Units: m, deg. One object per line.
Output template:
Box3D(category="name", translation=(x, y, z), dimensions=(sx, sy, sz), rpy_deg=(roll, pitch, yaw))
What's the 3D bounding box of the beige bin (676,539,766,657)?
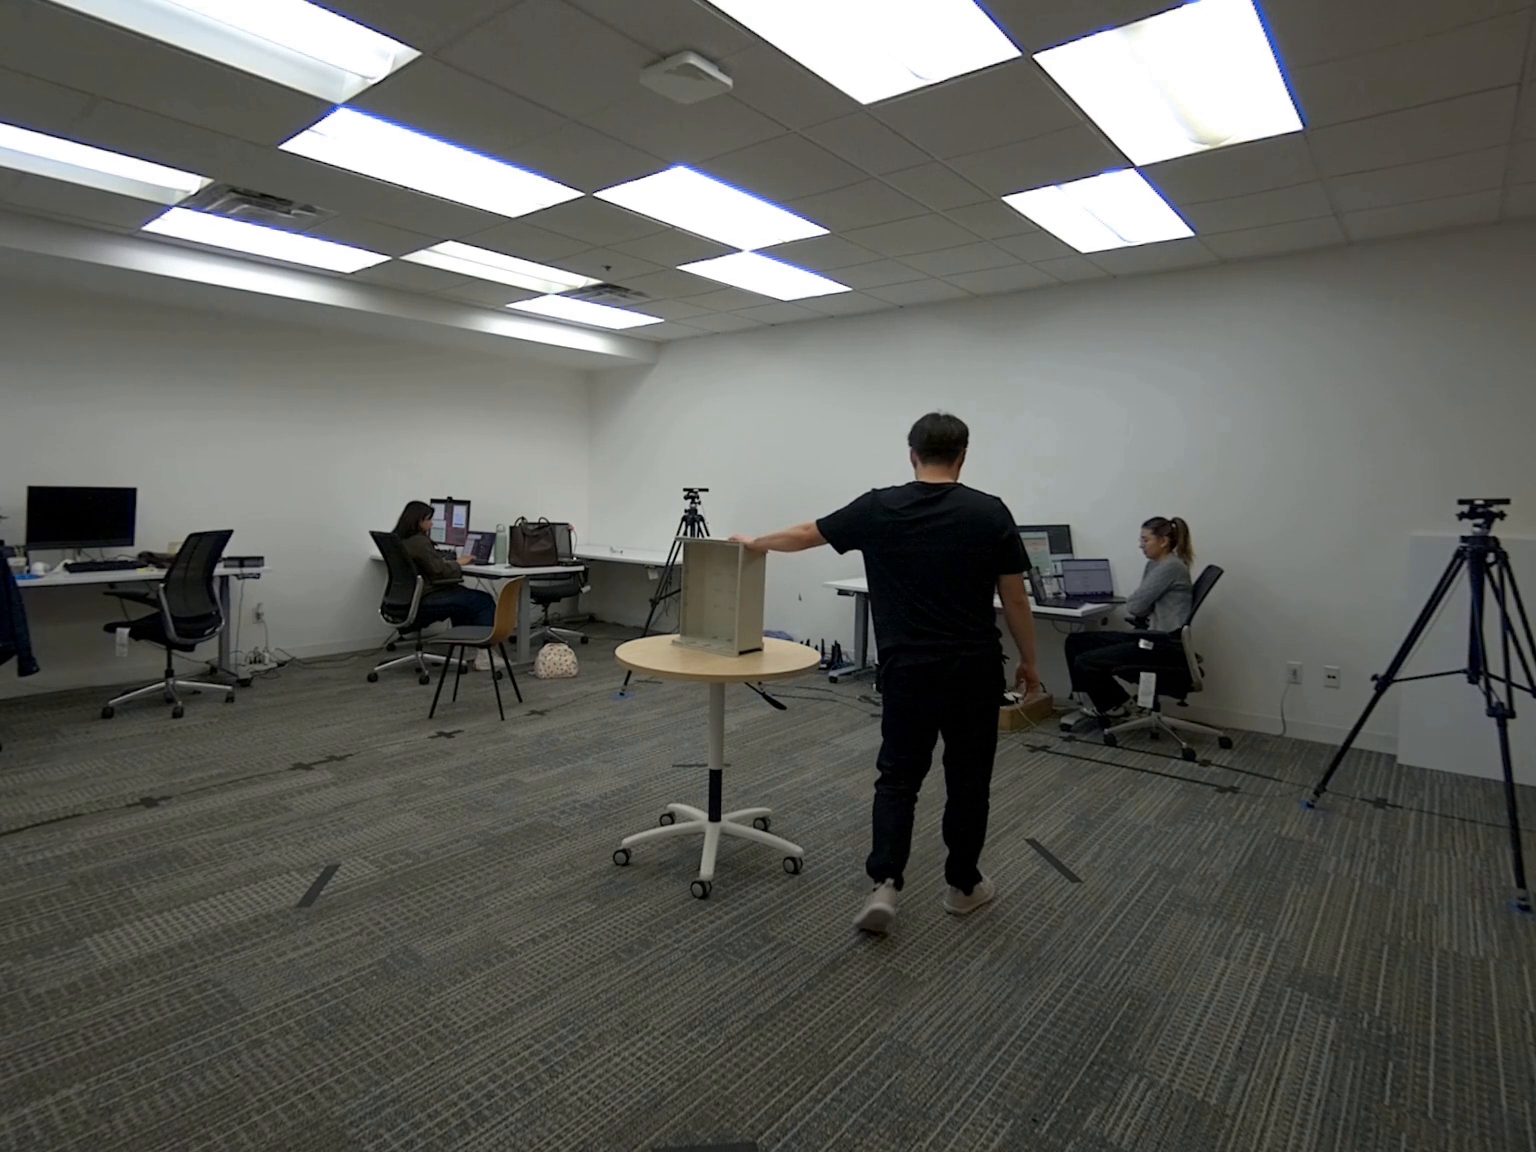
Box3D(category="beige bin", translation=(-0.215, 0.061, 3.265), dimensions=(0.390, 0.421, 0.183), rpy_deg=(5, 3, 38))
